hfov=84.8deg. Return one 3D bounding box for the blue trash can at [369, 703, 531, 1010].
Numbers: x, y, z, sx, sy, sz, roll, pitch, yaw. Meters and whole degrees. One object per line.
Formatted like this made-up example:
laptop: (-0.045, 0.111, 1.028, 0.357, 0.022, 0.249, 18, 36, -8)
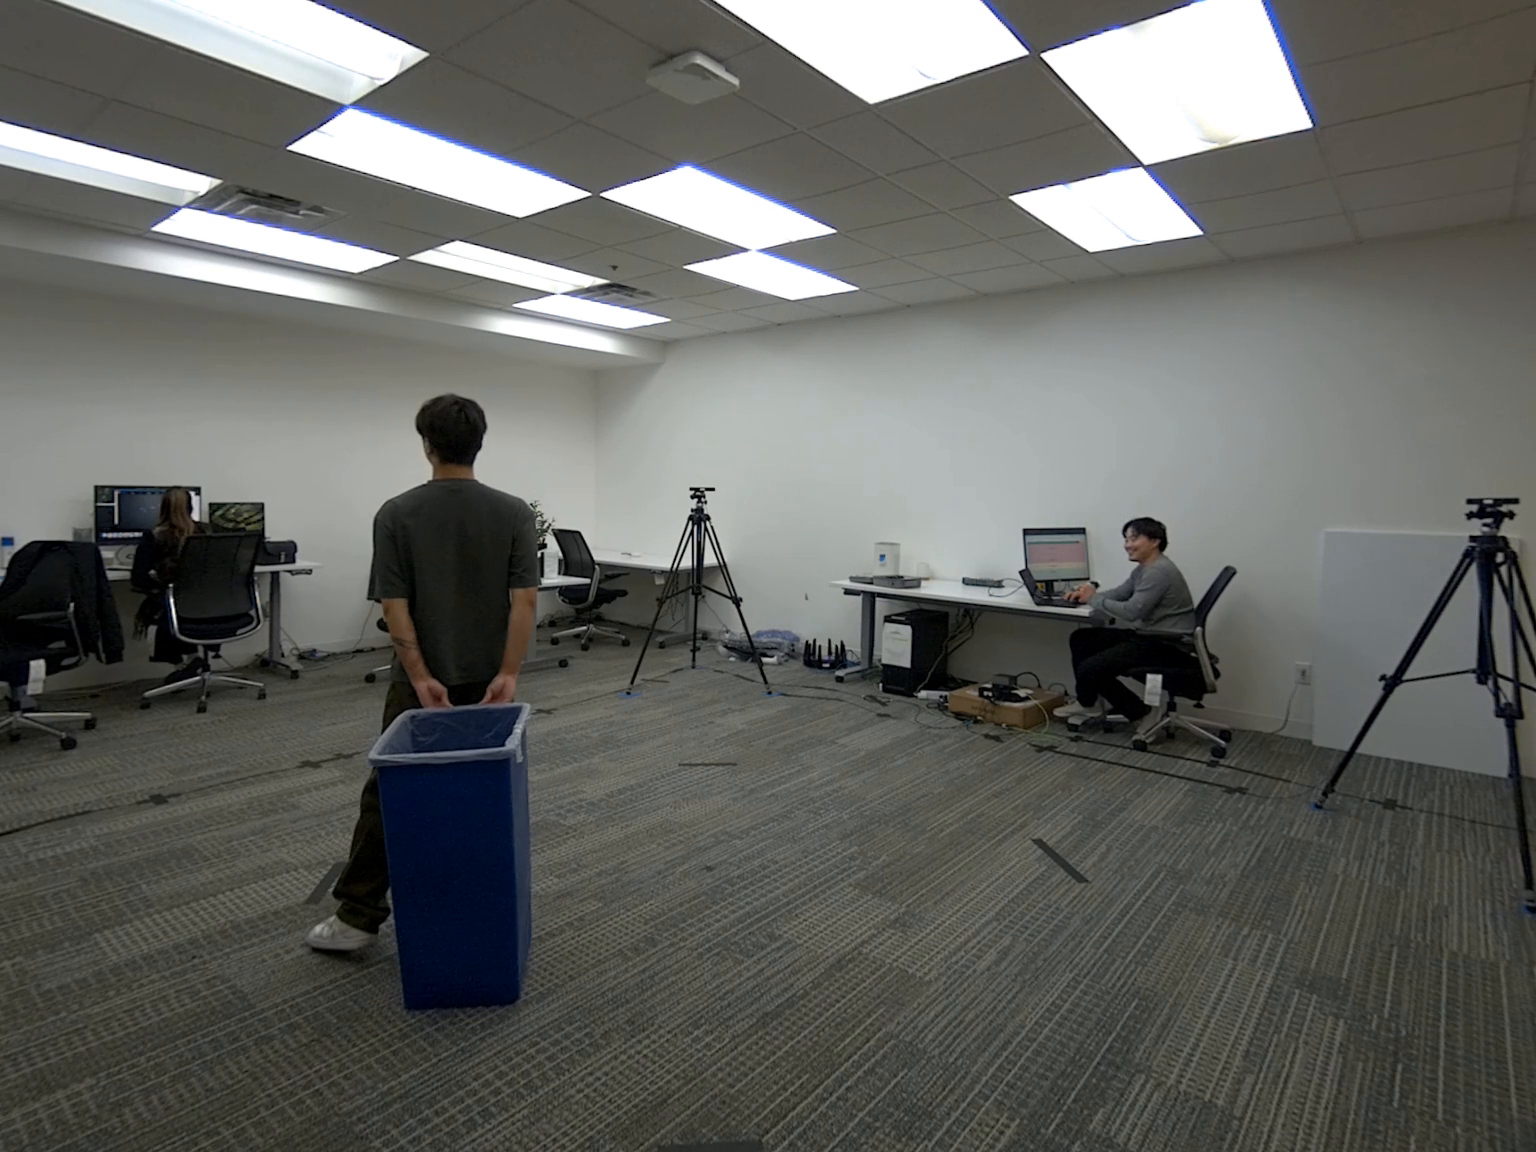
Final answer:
blue trash can: (-0.855, 0.768, 2.349, 0.371, 0.709, 0.384, -2, 7, -8)
